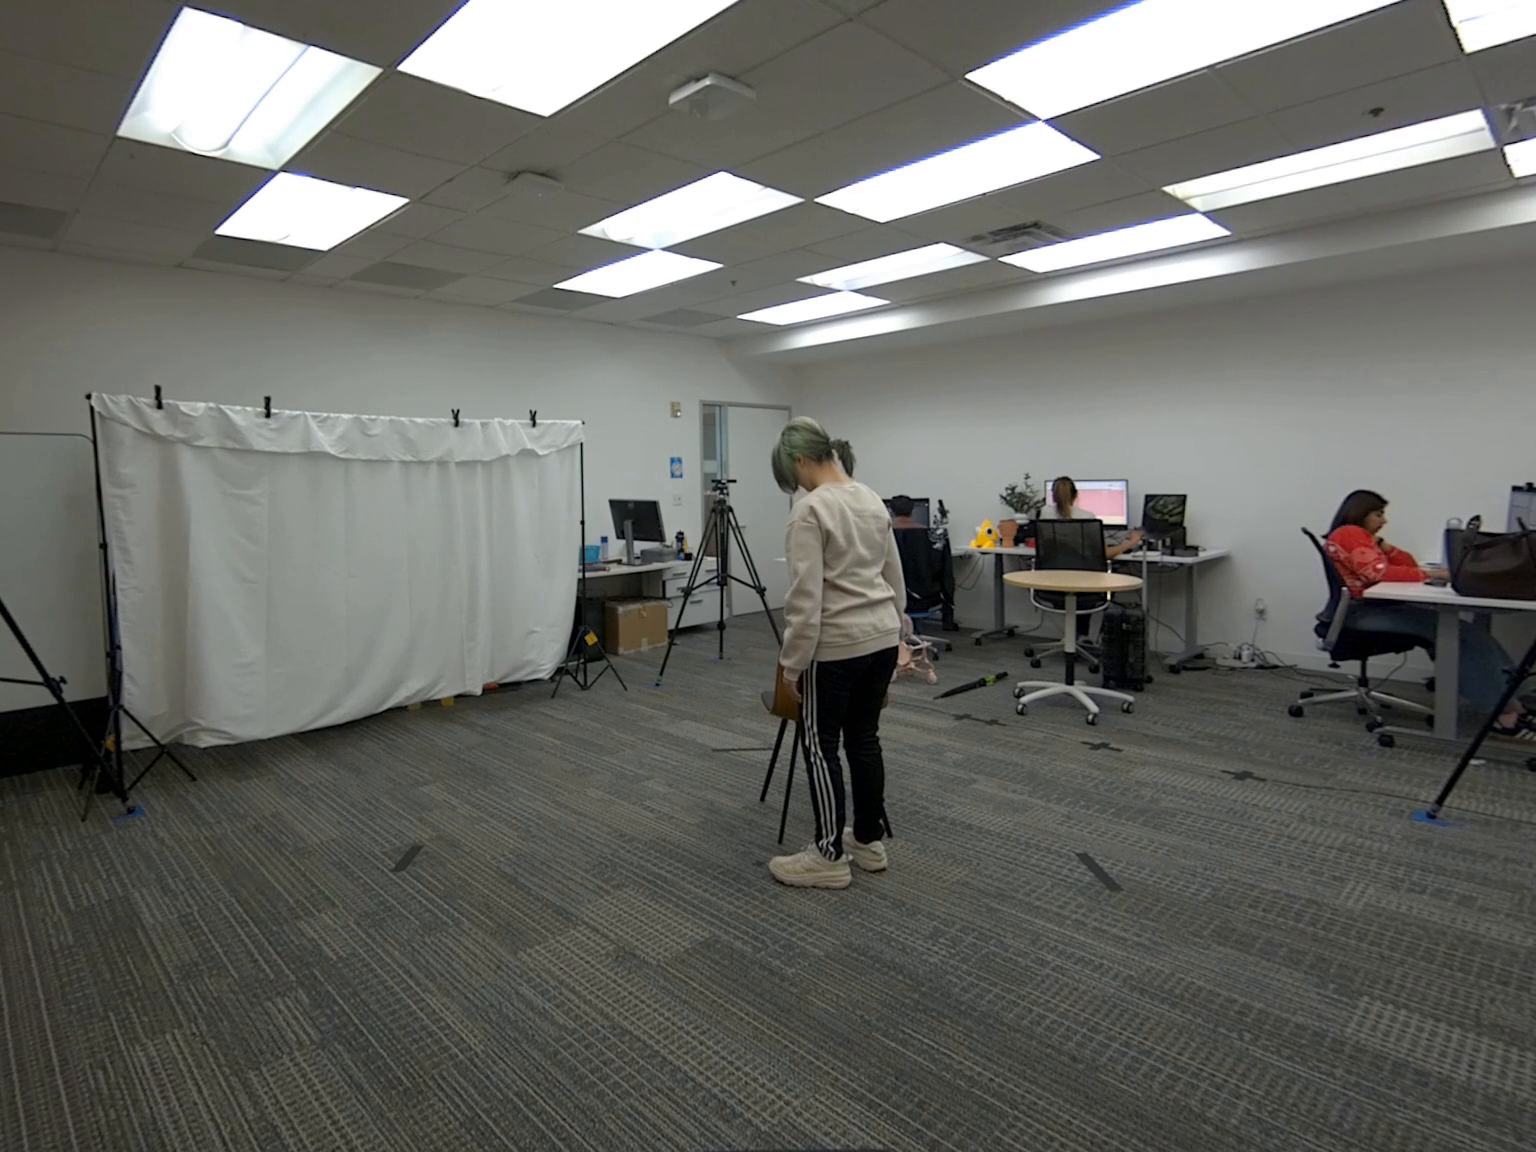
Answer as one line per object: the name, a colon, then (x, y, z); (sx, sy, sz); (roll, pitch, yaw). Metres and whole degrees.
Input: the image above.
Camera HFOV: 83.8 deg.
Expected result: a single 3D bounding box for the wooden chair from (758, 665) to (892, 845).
wooden chair: (0.210, 0.572, 3.497); (0.474, 0.871, 0.531); (-2, 8, -9)
